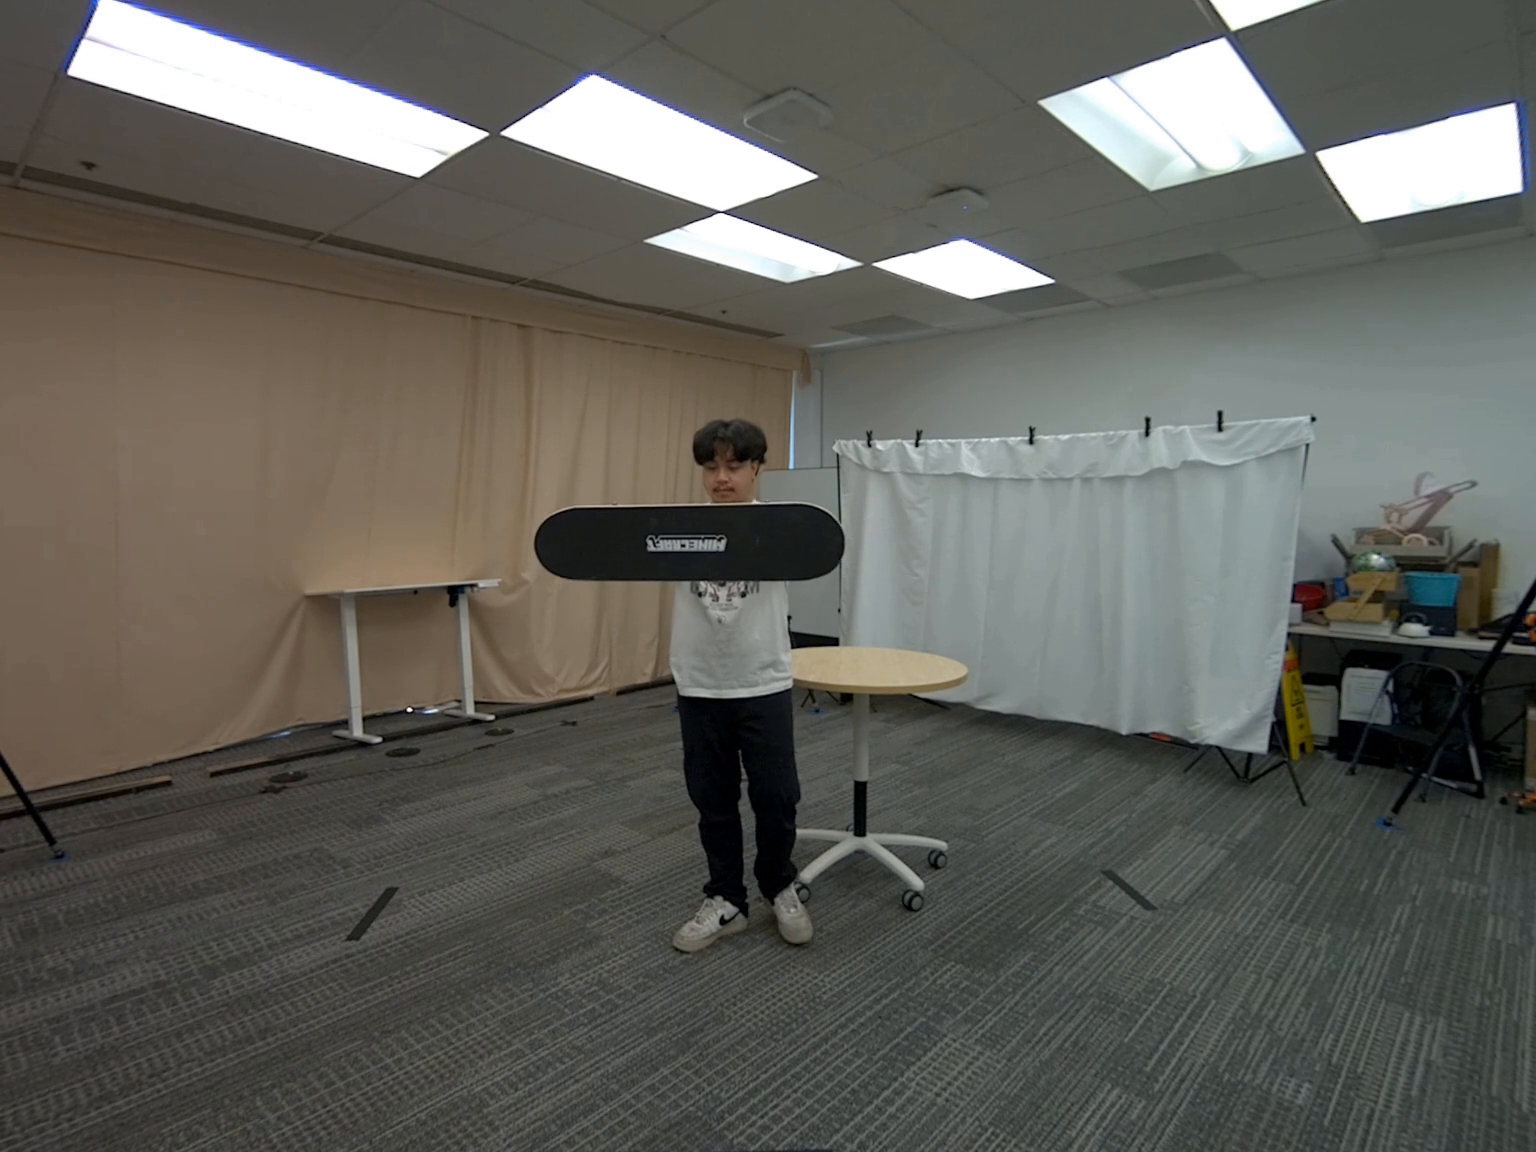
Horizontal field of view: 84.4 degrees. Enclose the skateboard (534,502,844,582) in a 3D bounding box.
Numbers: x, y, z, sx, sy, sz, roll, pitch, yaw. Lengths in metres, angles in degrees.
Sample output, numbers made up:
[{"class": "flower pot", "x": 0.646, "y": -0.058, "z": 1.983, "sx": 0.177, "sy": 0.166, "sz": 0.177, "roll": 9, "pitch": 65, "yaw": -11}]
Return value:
[{"class": "skateboard", "x": -0.201, "y": -0.084, "z": 2.128, "sx": 0.795, "sy": 0.192, "sz": 0.110, "roll": -1, "pitch": 9, "yaw": 11}]
